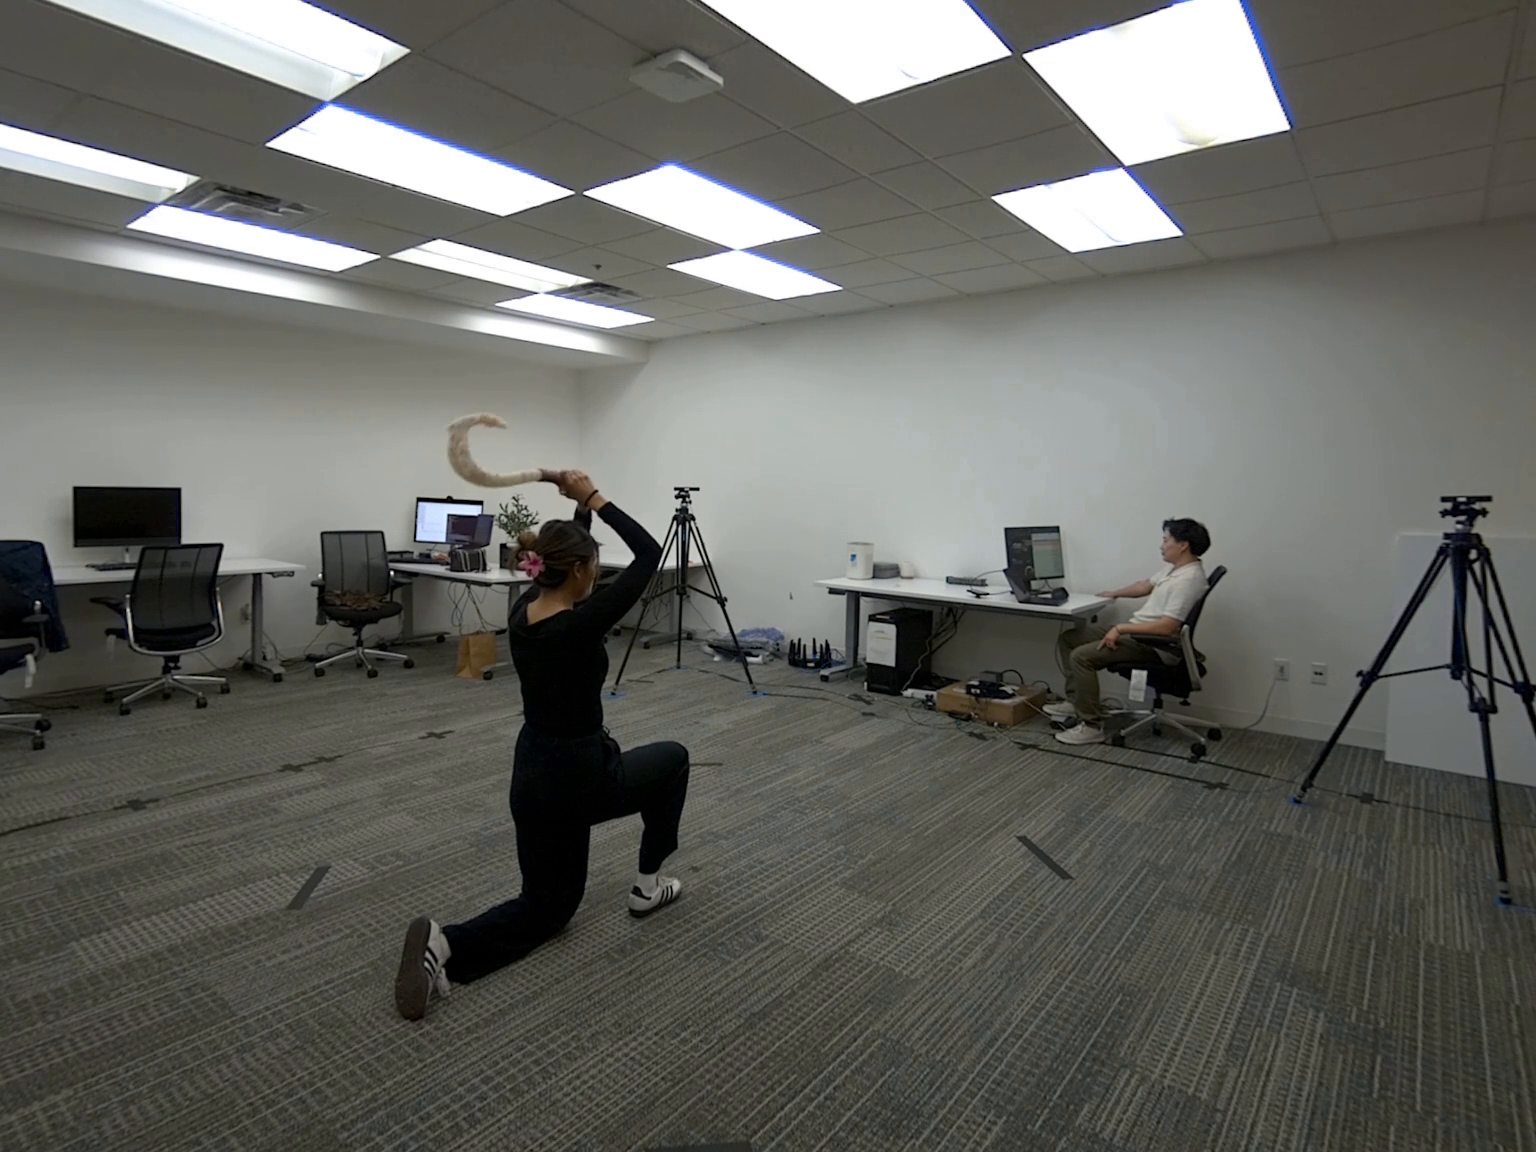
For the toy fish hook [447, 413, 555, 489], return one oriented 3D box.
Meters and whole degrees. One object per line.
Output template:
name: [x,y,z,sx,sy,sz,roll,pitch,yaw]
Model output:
toy fish hook: [-0.731,-0.358,2.560,0.049,0.226,0.489,-7,-9,40]
